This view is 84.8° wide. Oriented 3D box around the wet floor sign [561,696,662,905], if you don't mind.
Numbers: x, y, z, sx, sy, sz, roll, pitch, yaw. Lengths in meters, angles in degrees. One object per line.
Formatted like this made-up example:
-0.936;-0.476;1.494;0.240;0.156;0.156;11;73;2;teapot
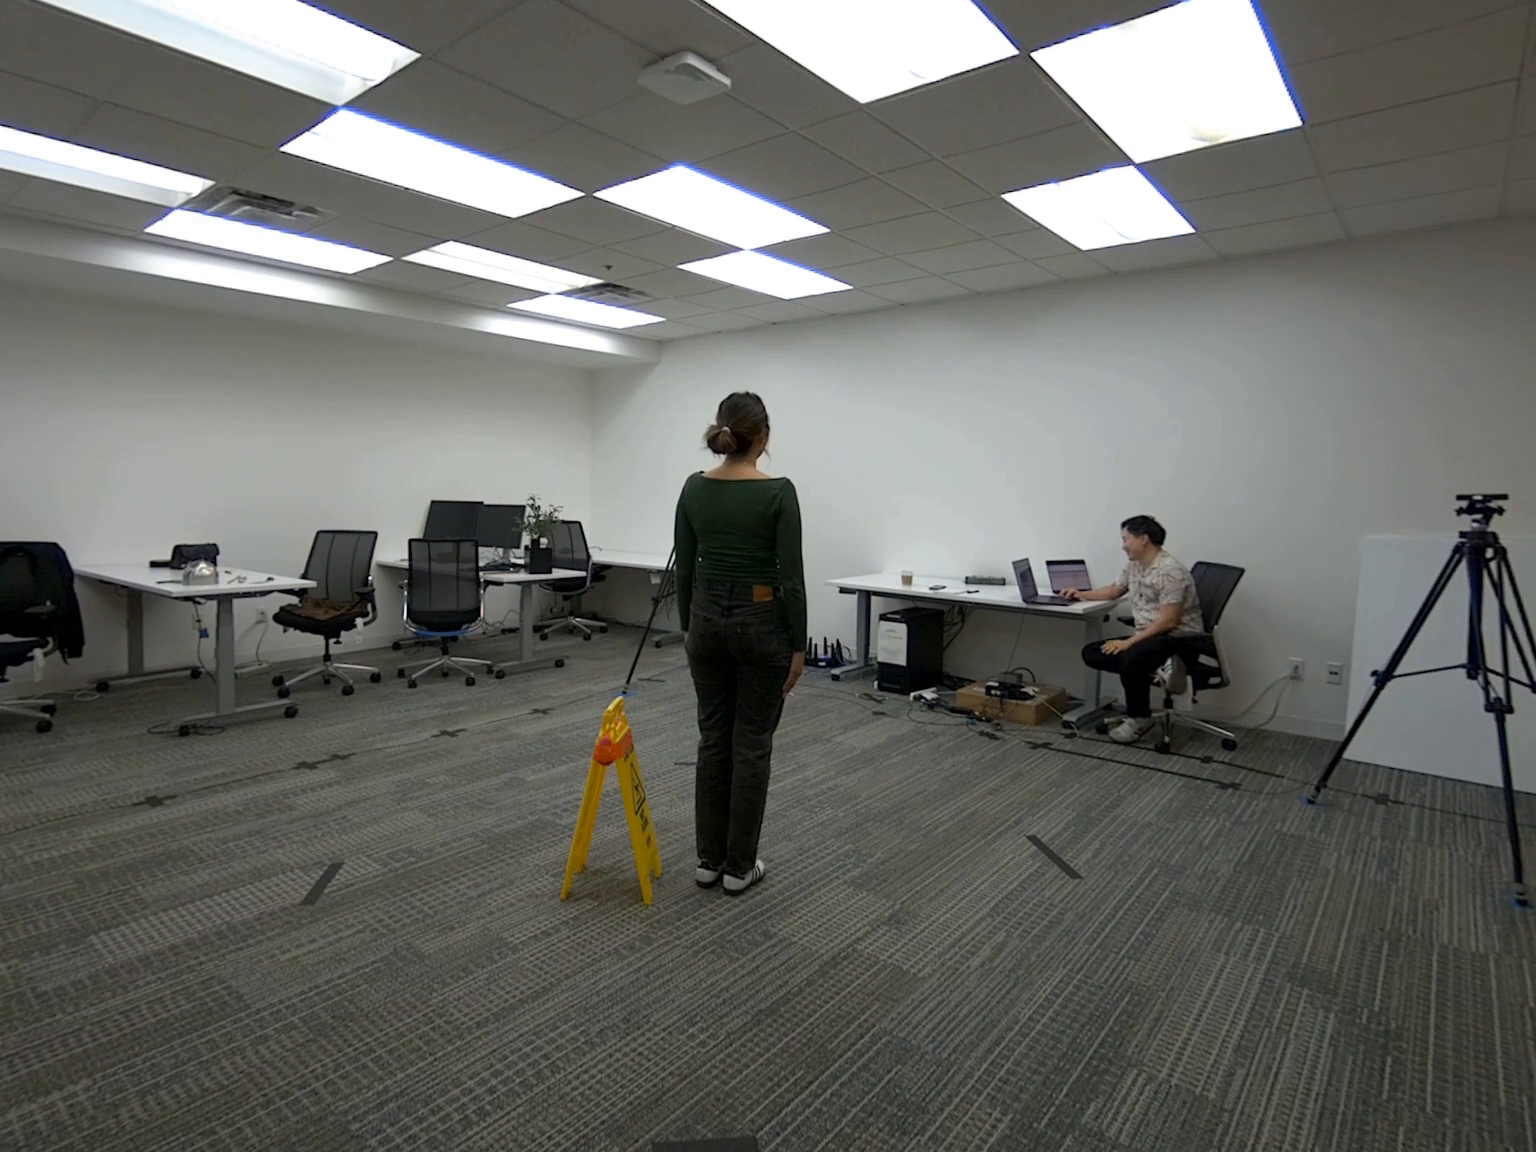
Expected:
-0.543;0.757;2.945;0.291;0.643;0.282;1;5;3;wet floor sign
